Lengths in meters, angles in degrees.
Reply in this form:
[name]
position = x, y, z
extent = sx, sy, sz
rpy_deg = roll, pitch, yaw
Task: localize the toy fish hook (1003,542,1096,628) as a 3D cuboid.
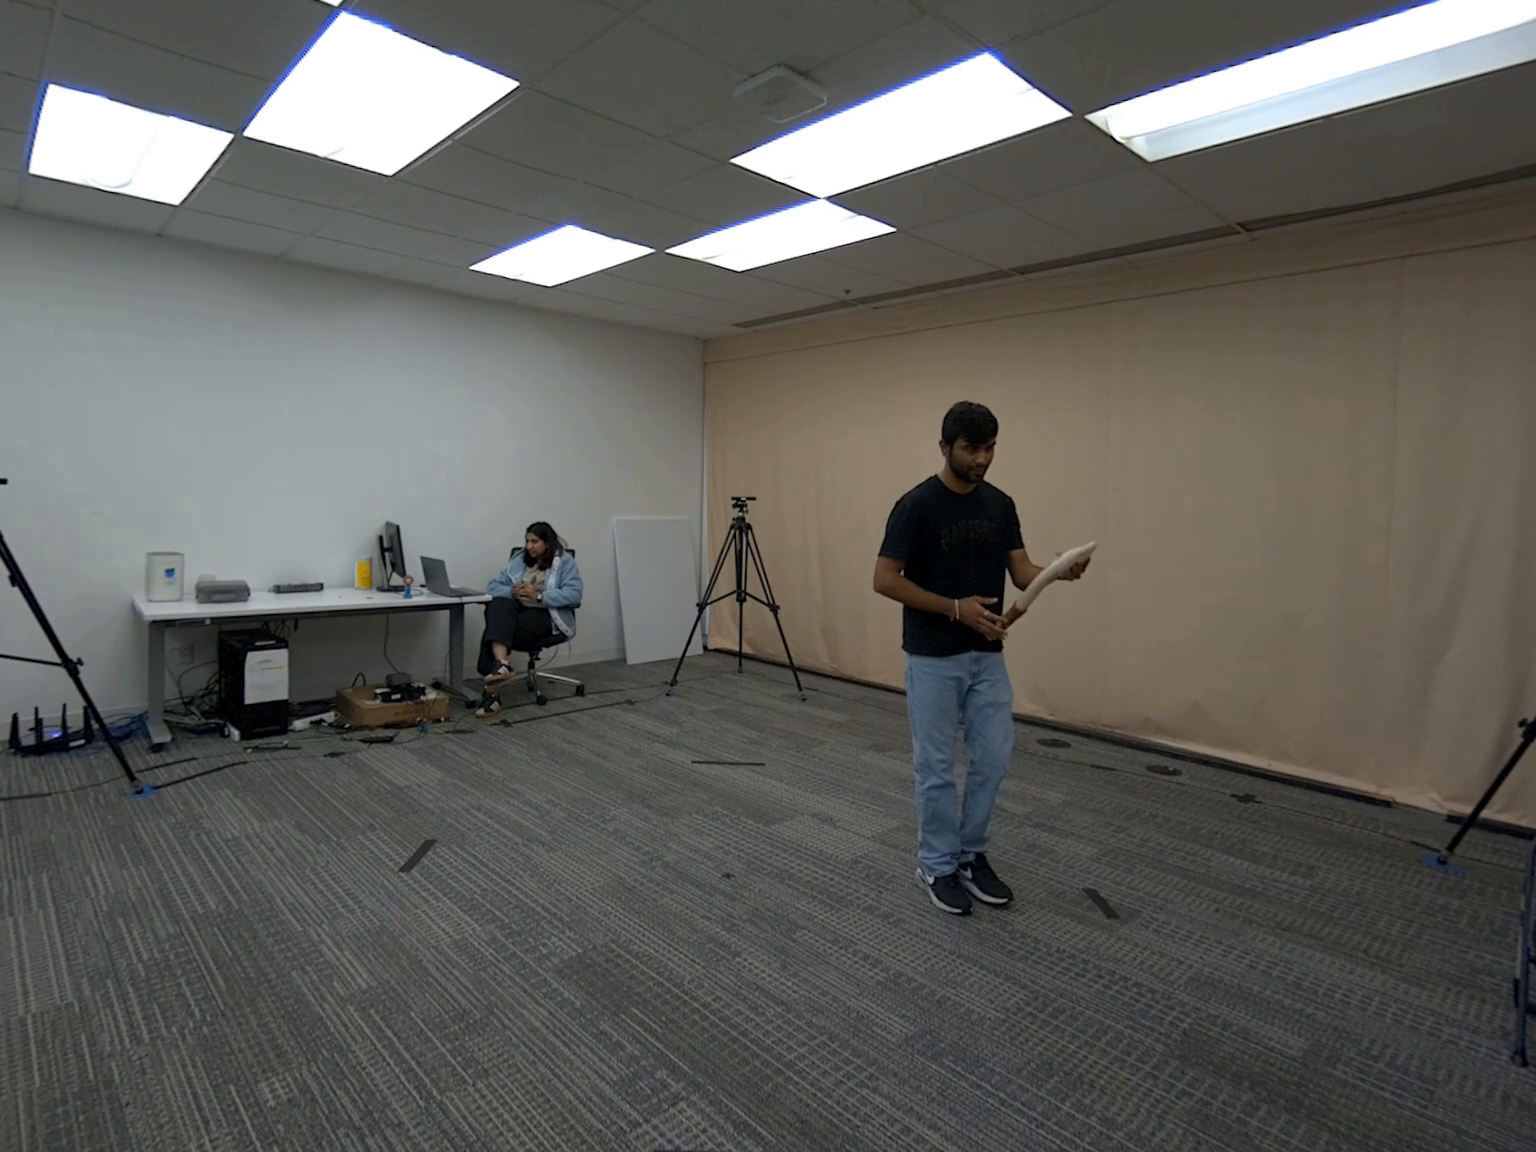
[toy fish hook]
position = 0.835, 0.050, 2.654
extent = 0.222, 0.049, 0.502
rpy_deg = -19, -24, -29
